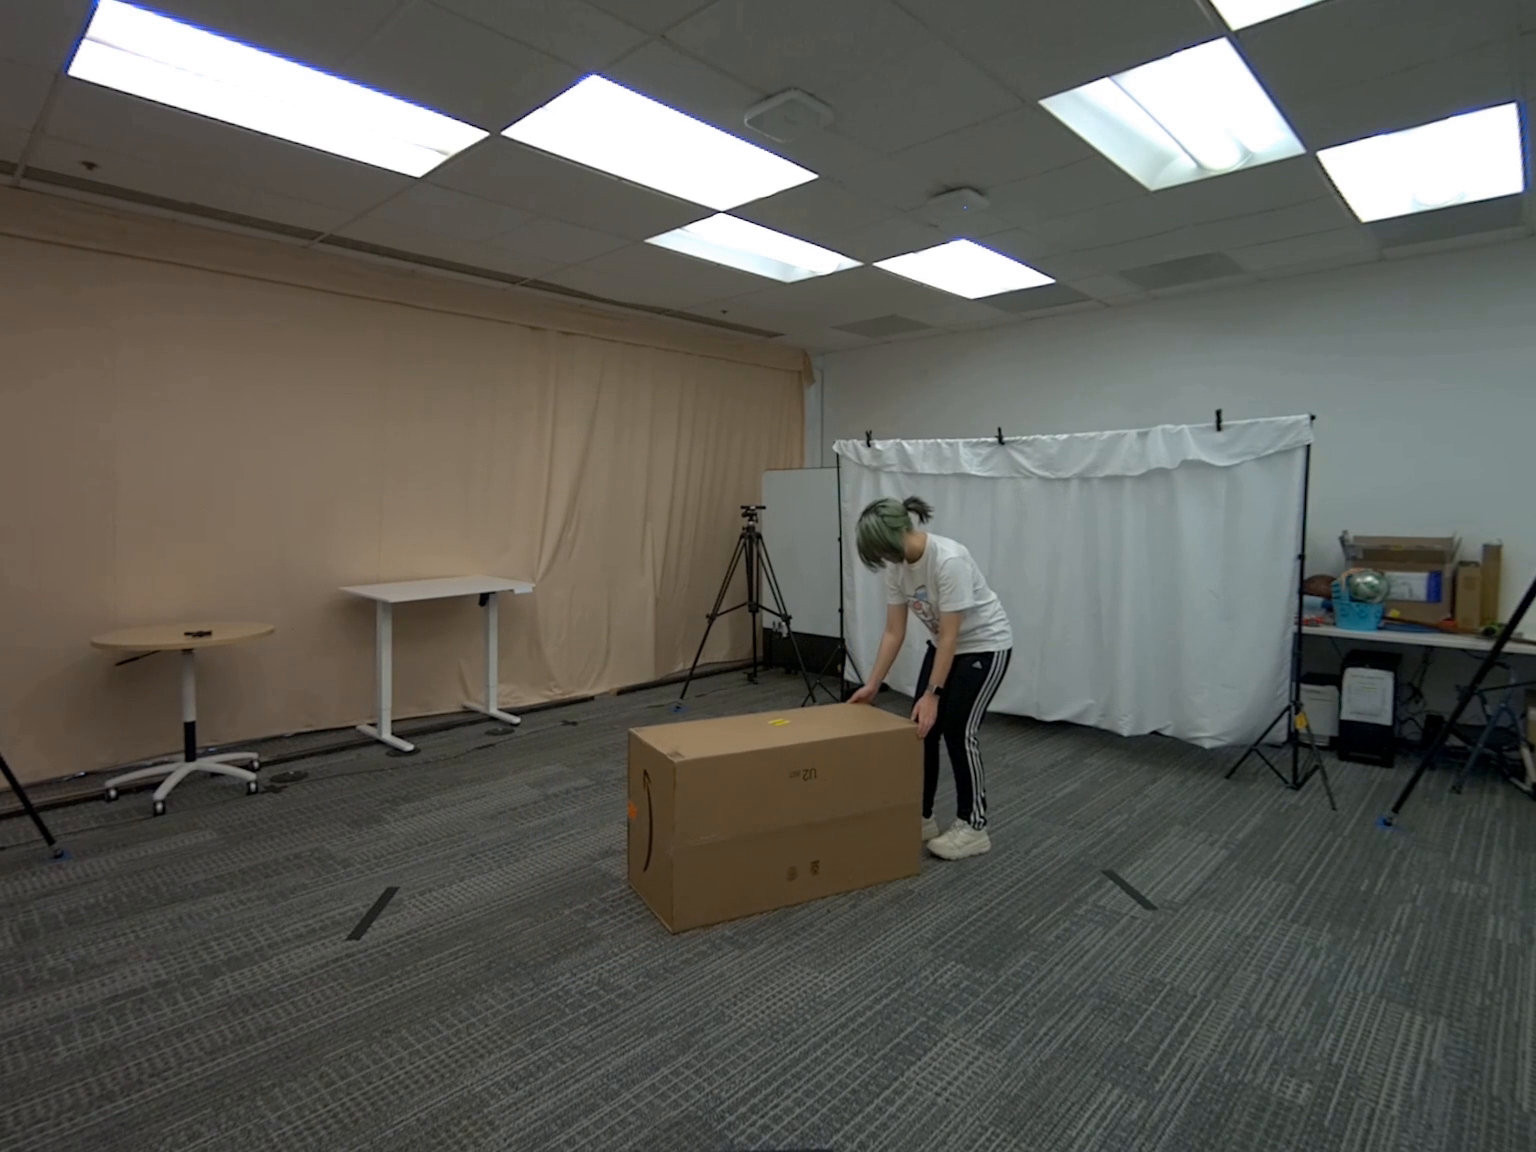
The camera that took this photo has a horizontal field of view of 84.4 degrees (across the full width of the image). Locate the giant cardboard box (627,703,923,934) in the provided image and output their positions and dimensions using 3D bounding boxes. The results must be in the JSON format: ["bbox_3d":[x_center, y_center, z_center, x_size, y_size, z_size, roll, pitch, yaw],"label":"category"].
[{"bbox_3d":[0.031,0.845,3.125,1.001,0.583,0.459,-2,3,-27],"label":"giant cardboard box"}]
